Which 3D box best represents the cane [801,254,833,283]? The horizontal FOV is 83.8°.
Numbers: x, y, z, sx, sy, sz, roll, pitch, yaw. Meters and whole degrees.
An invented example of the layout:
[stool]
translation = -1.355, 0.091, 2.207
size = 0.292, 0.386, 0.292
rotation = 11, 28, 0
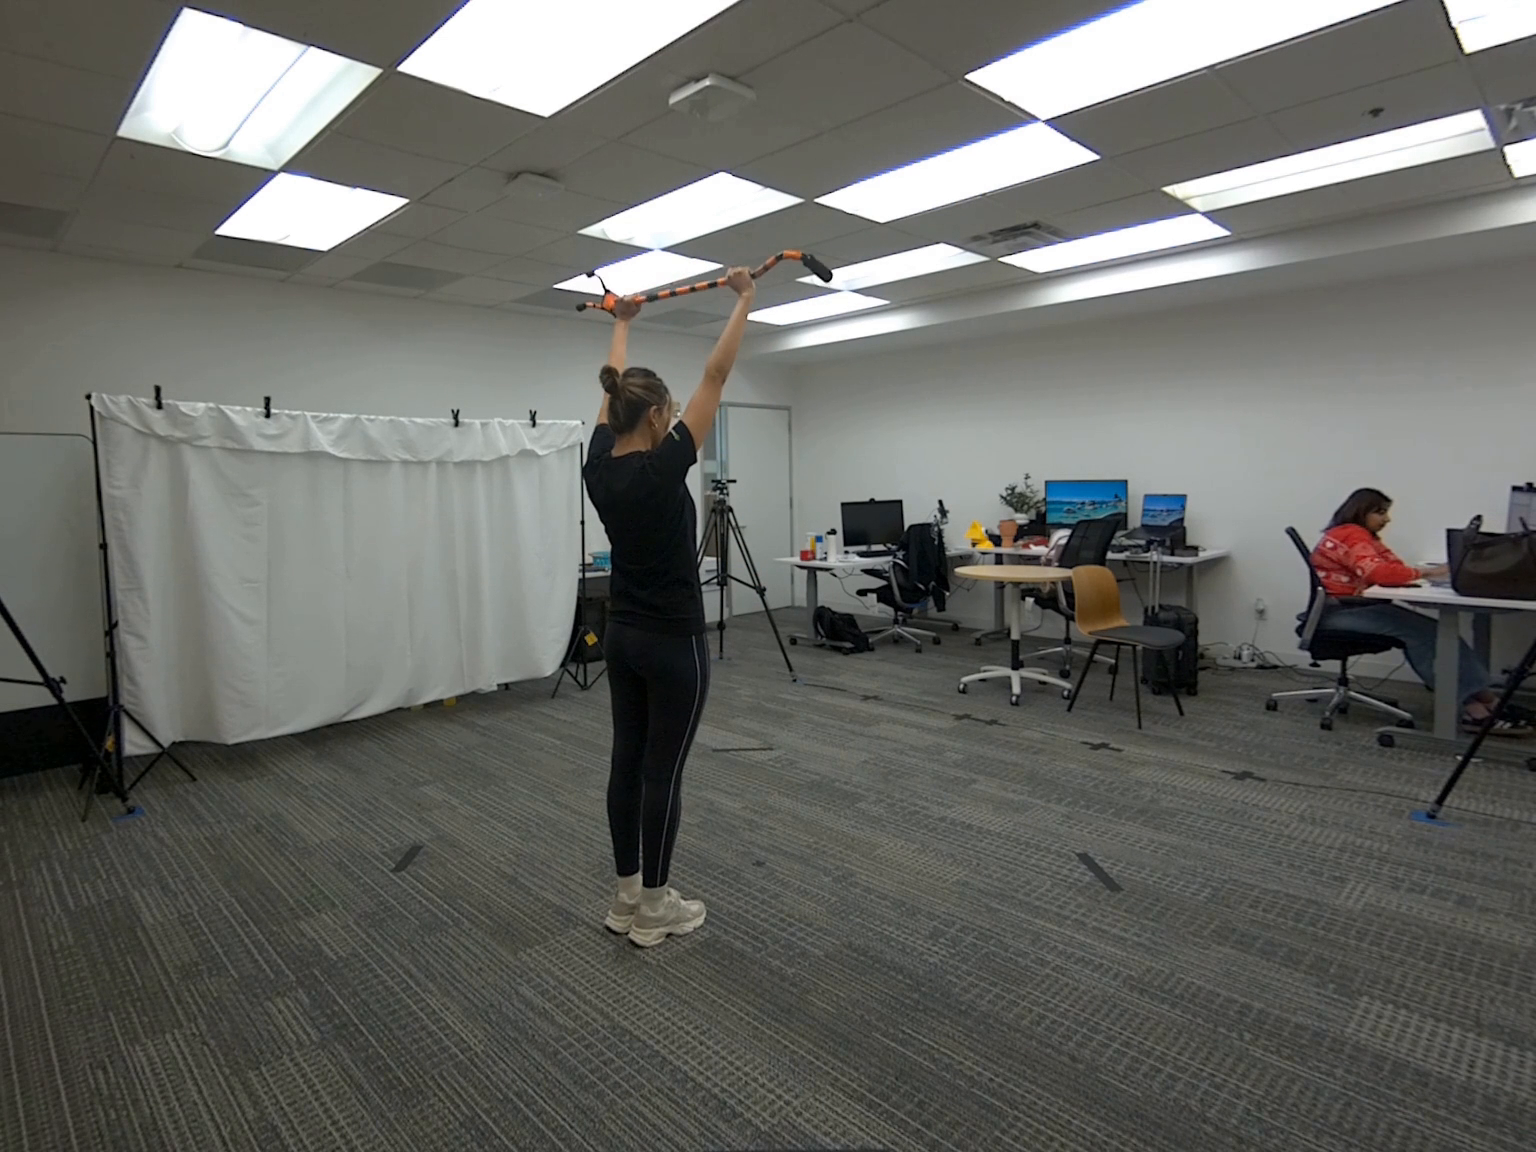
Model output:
[cane]
translation = -0.224, -0.913, 2.666
size = 0.936, 0.152, 0.199
rotation = 5, -11, 41
